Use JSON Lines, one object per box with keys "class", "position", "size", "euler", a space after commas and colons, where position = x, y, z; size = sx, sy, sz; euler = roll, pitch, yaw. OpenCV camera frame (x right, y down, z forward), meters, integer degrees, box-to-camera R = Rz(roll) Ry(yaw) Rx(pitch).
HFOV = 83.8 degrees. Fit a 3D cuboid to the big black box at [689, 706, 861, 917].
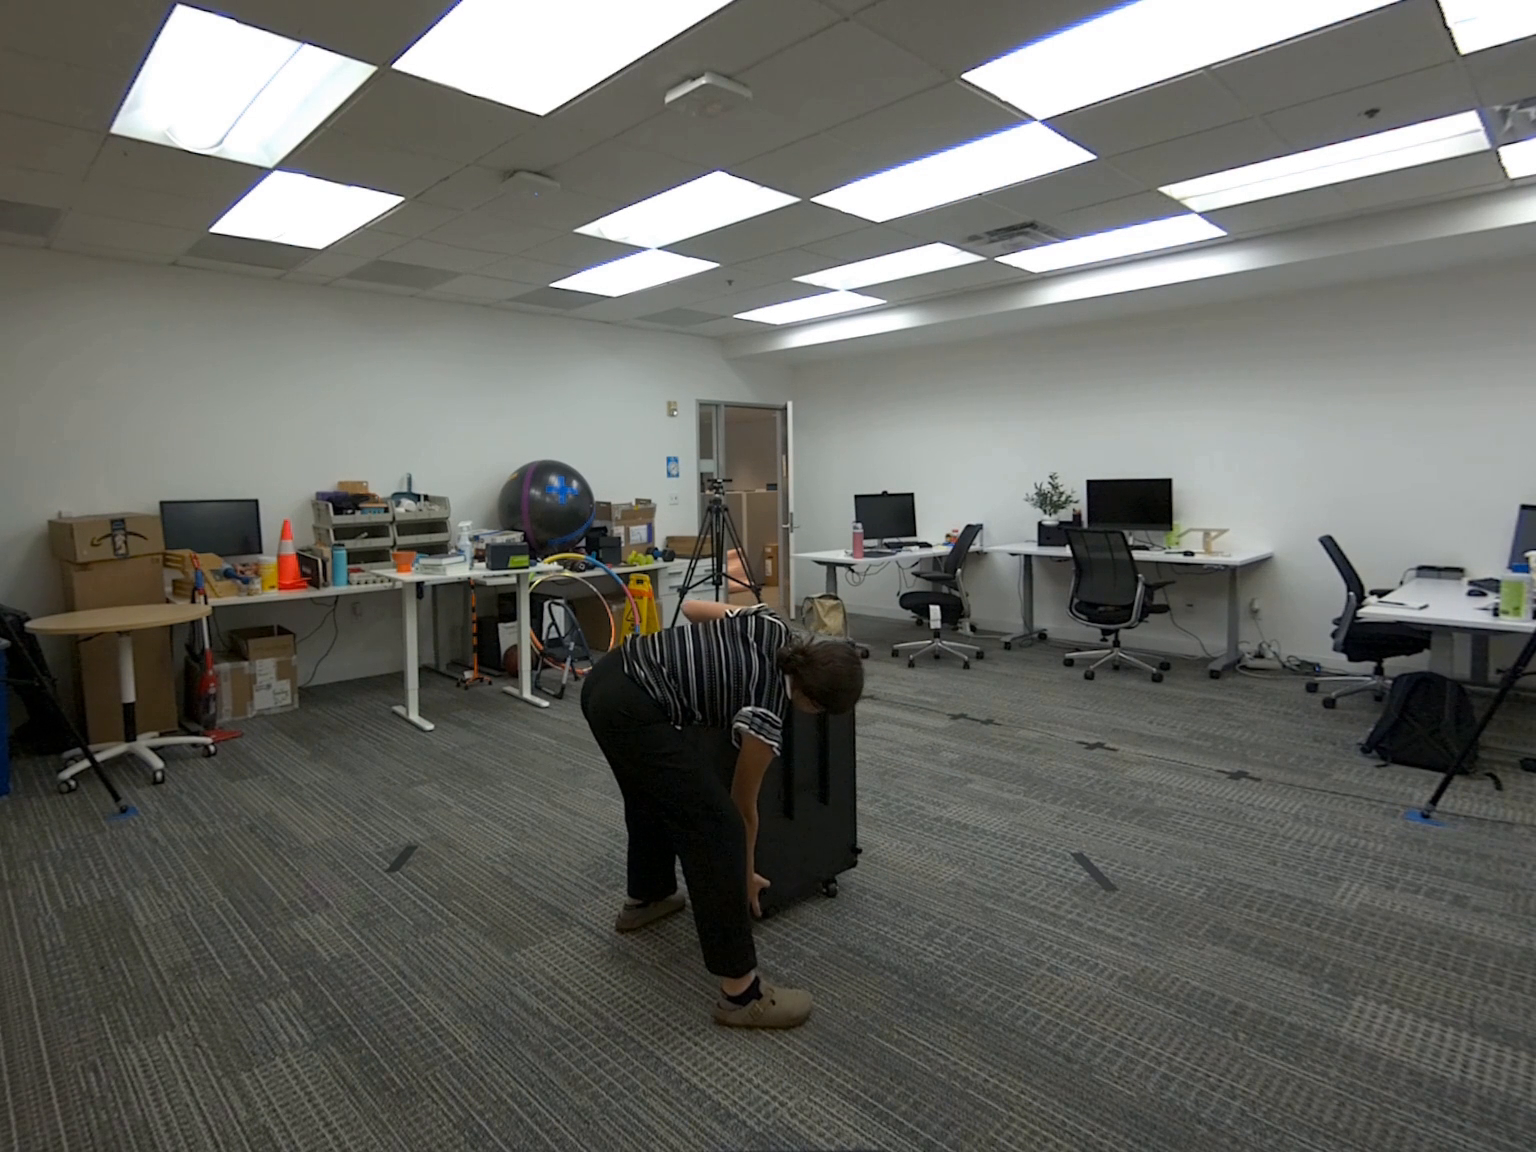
{"class": "big black box", "position": [0.023, 0.647, 2.868], "size": [0.507, 0.857, 0.409], "euler": [-5, 7, -42]}
